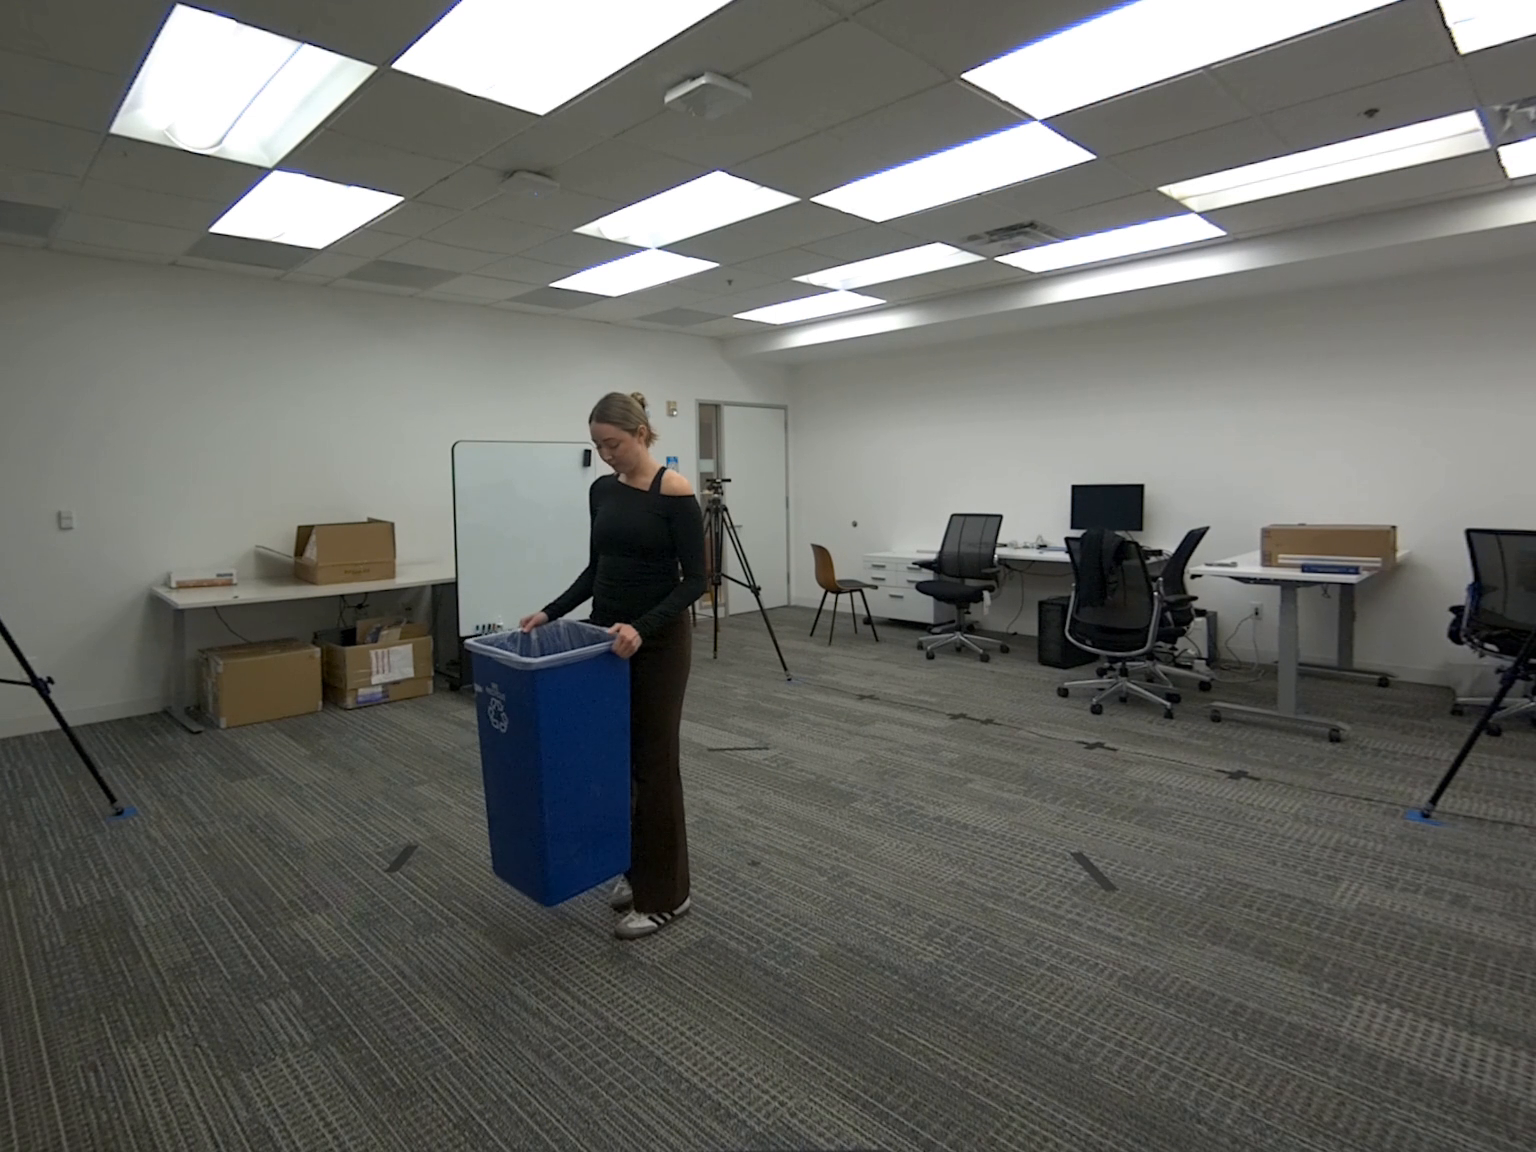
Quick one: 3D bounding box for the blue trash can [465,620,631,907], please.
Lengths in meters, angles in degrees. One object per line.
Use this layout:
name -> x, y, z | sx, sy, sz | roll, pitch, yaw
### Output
blue trash can -> -0.618, 0.530, 2.512 | 0.386, 0.709, 0.369 | 4, 10, 43
